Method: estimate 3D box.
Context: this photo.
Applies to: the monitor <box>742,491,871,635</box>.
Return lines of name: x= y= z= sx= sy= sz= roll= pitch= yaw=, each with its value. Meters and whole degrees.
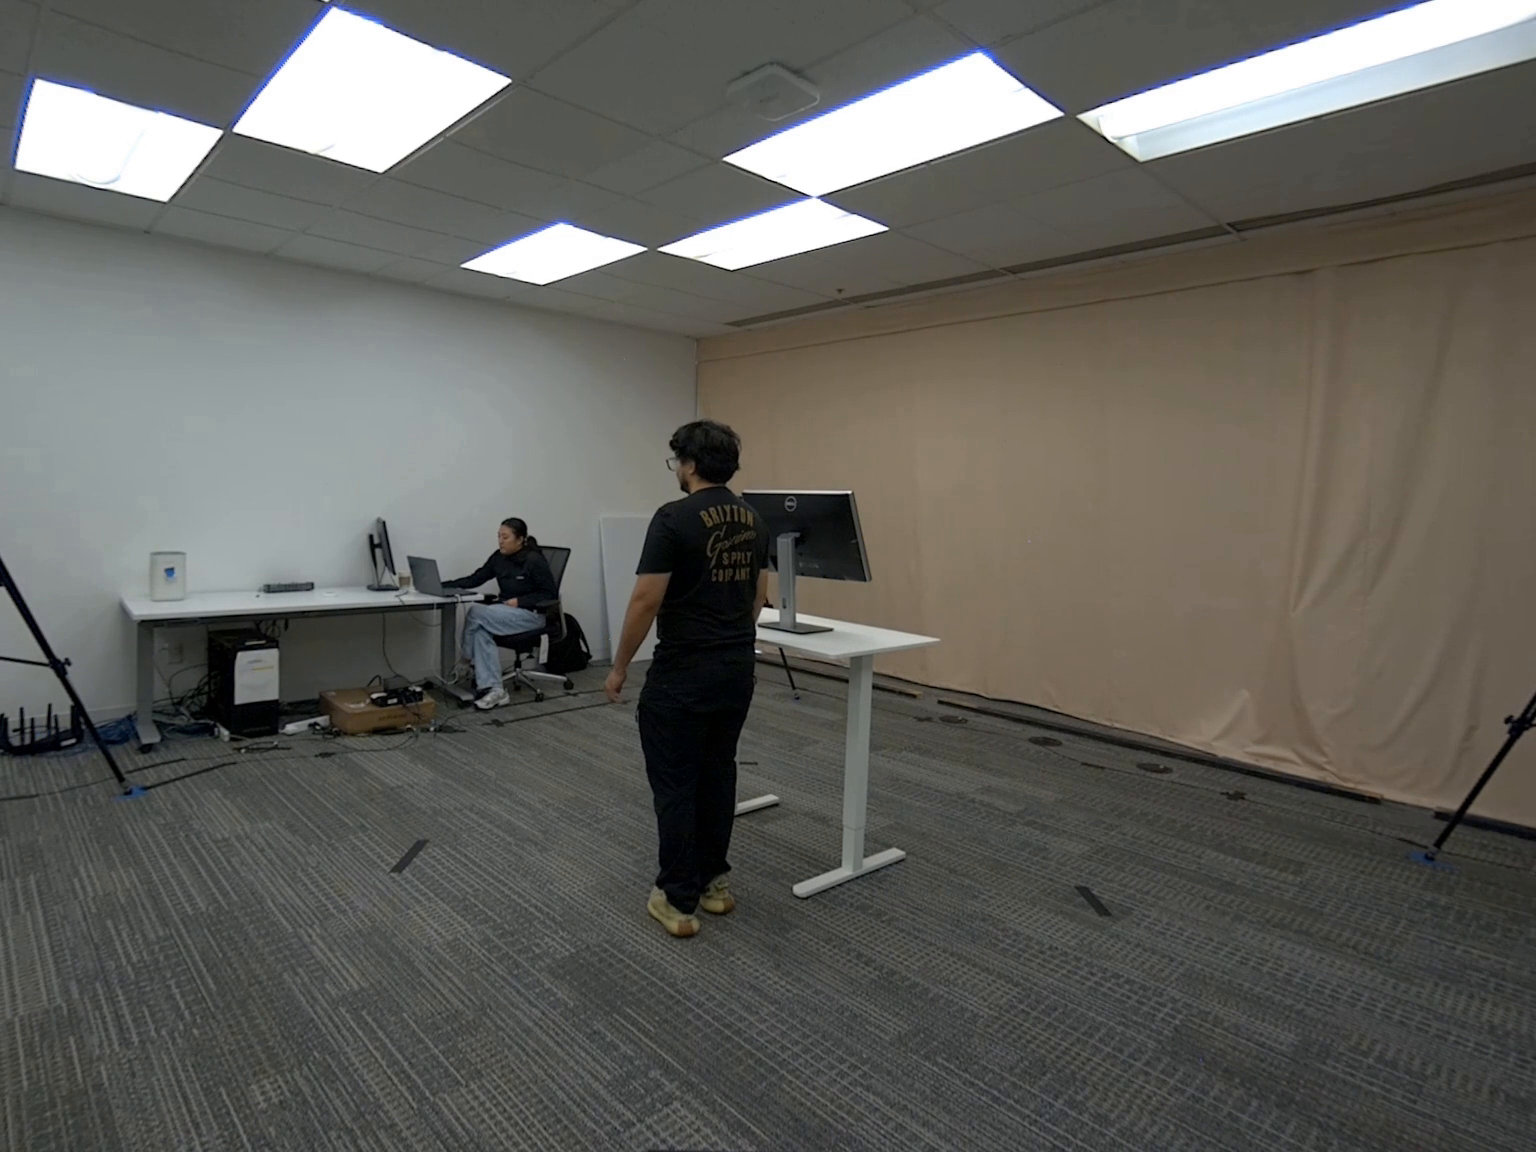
monitor: x=0.091 y=-0.058 z=3.284 sx=0.580 sy=0.549 sz=0.206 roll=6 pitch=15 yaw=44
